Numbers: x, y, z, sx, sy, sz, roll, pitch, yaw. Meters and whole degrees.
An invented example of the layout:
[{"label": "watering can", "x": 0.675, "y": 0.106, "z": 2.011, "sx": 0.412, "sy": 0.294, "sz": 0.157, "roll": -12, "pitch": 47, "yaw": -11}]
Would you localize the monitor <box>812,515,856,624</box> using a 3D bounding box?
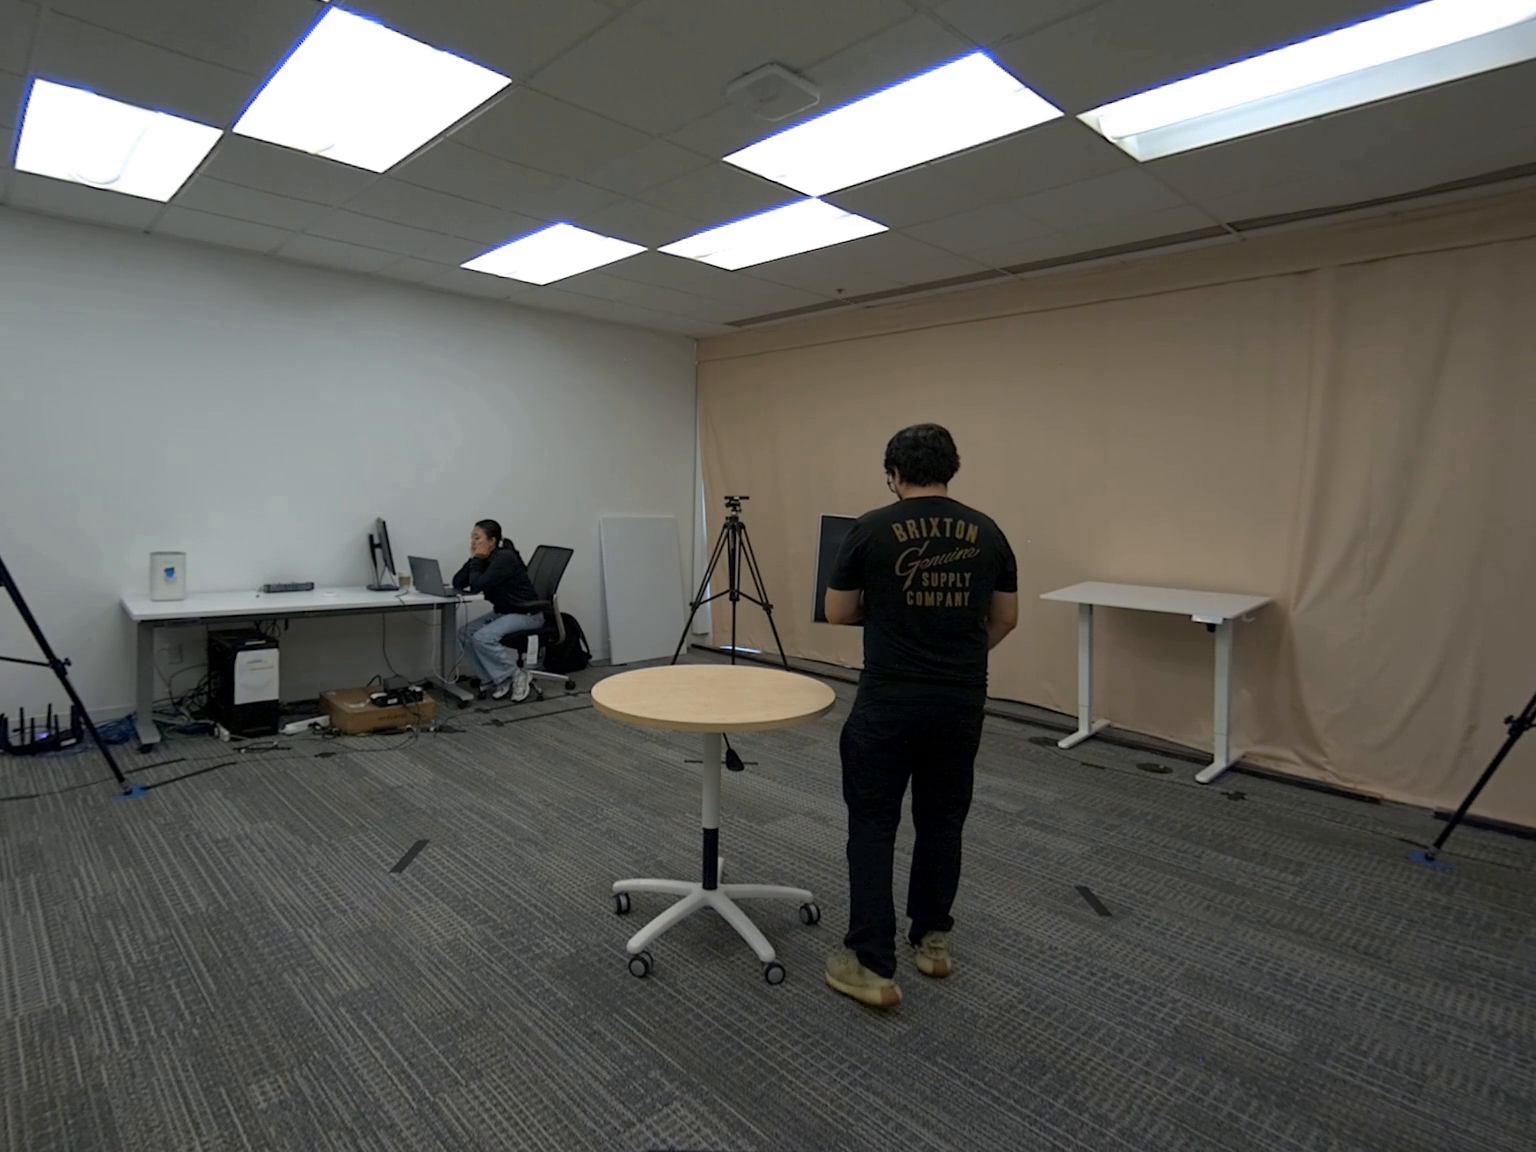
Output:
[{"label": "monitor", "x": 0.433, "y": 0.084, "z": 2.727, "sx": 0.562, "sy": 0.558, "sz": 0.209, "roll": 5, "pitch": -11, "yaw": -6}]
